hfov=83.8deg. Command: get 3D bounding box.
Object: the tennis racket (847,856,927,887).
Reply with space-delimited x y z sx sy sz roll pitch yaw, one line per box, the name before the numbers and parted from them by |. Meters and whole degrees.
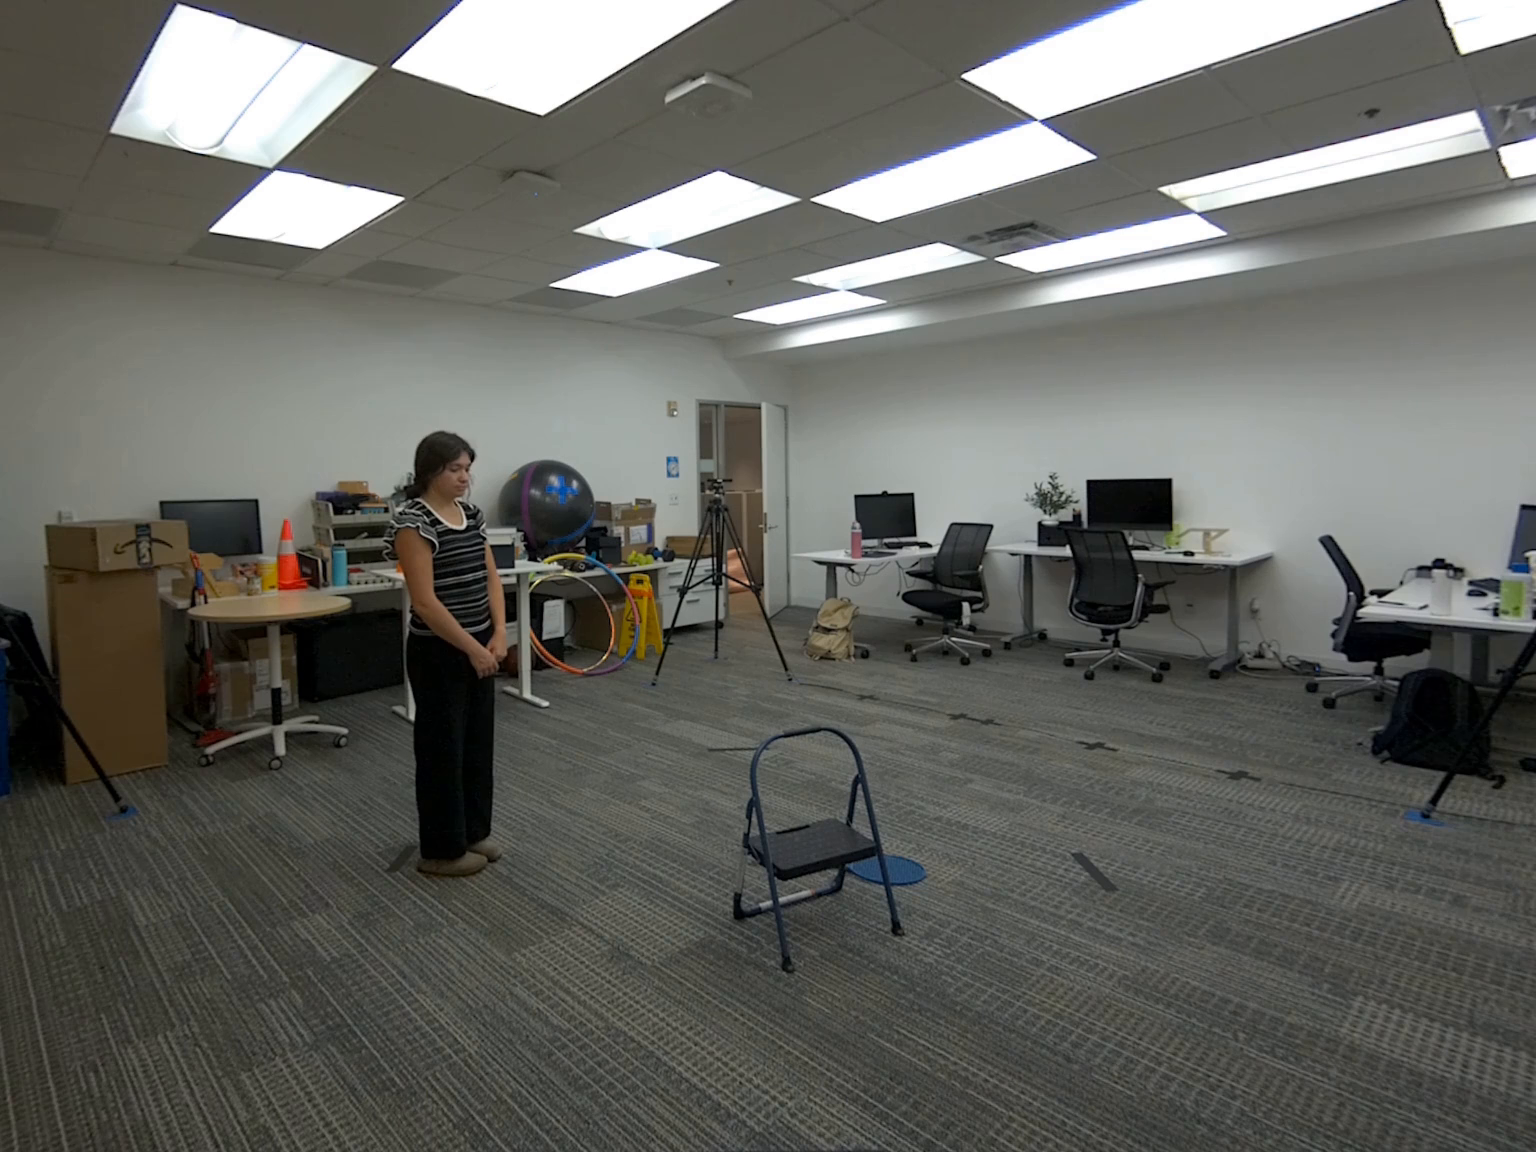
tennis racket | 0.337 1.022 3.036 0.440 0.031 0.211 3 7 16
